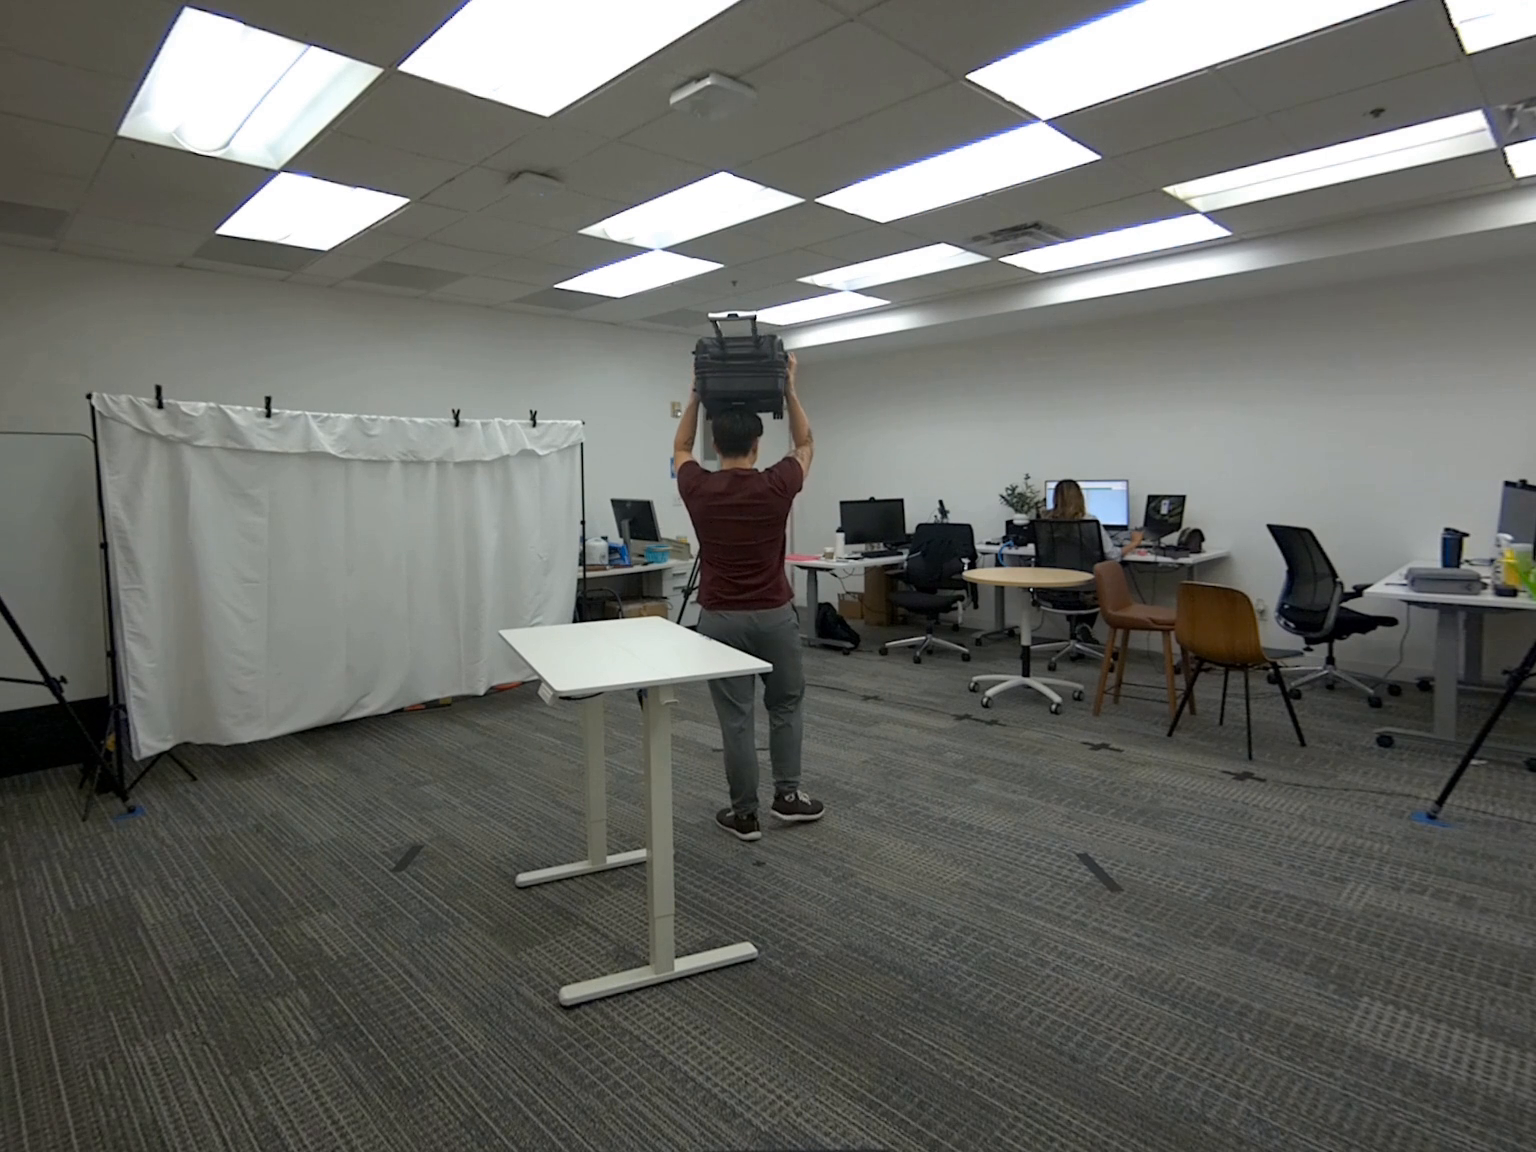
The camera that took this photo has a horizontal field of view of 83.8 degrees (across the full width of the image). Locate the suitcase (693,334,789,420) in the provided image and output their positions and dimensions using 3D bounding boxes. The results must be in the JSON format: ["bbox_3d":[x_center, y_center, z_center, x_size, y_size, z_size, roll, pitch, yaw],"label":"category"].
[{"bbox_3d":[-0.097,-0.792,3.259,0.385,0.256,0.980,-1,6,1],"label":"suitcase"}]
